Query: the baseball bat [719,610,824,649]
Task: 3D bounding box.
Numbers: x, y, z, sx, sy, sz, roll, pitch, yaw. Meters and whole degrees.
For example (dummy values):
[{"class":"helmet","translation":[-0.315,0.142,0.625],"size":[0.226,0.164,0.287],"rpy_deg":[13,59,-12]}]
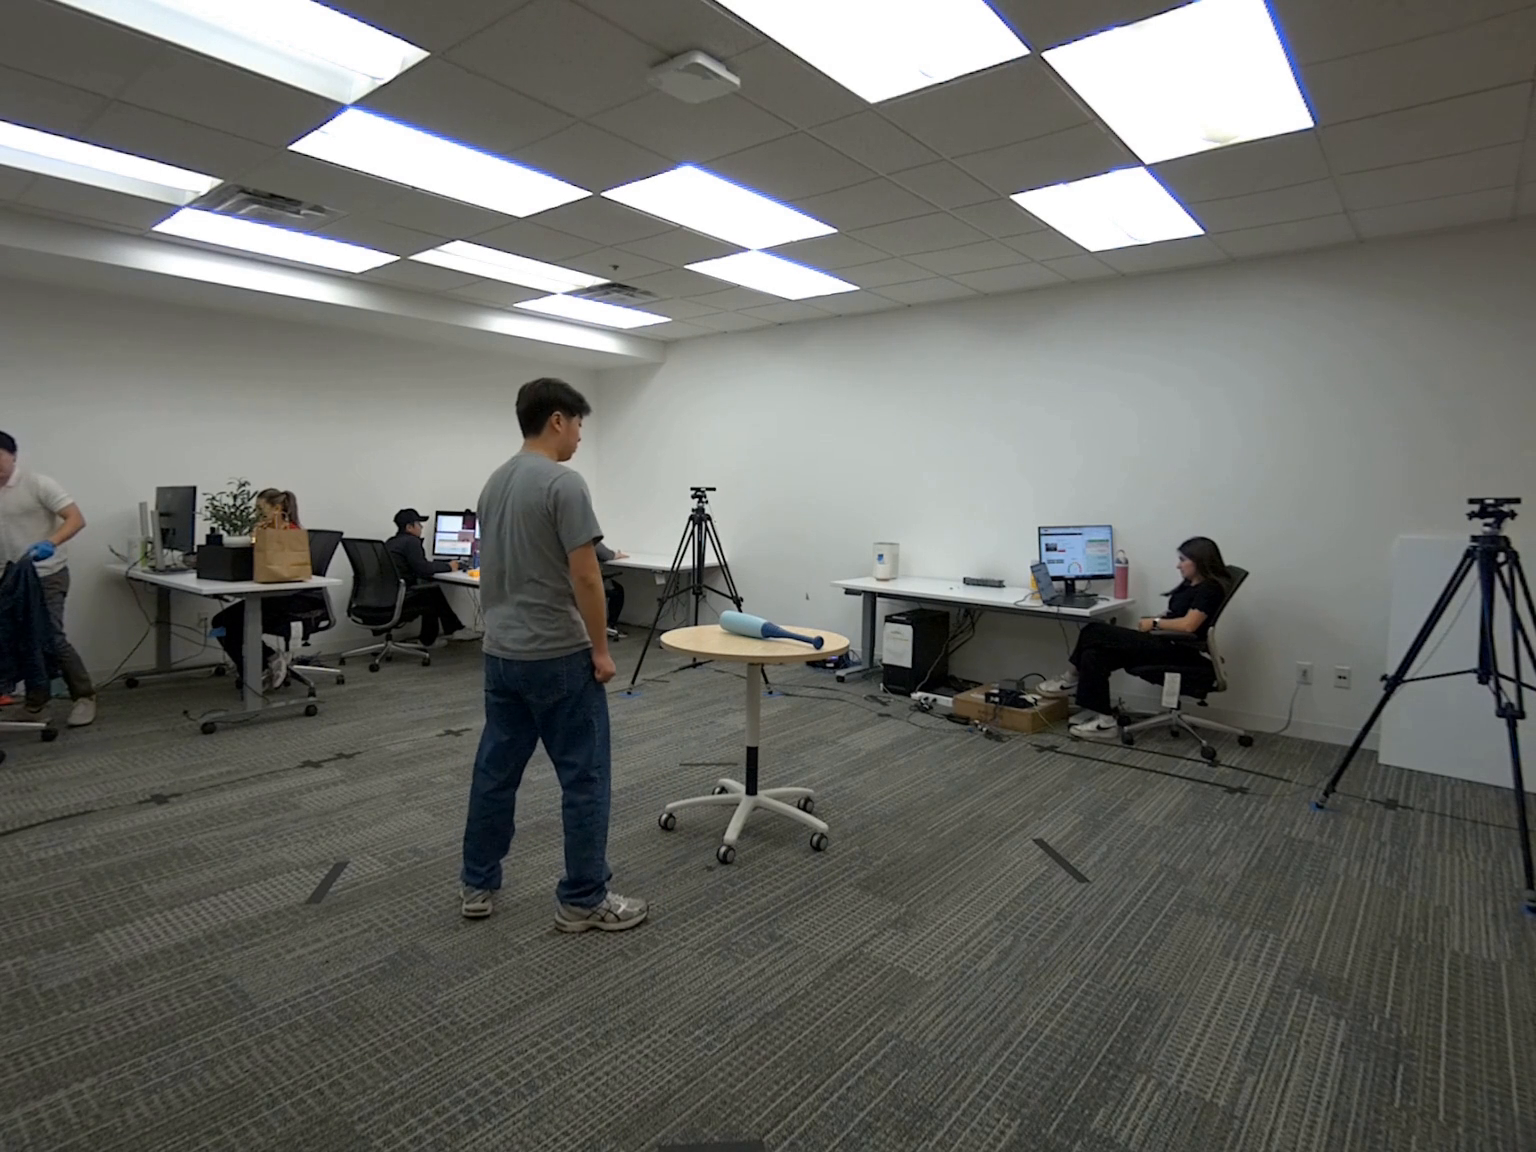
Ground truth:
[{"class":"baseball bat","translation":[-0.001,0.219,3.416],"size":[0.086,0.088,0.563],"rpy_deg":[-3,9,-43]}]
